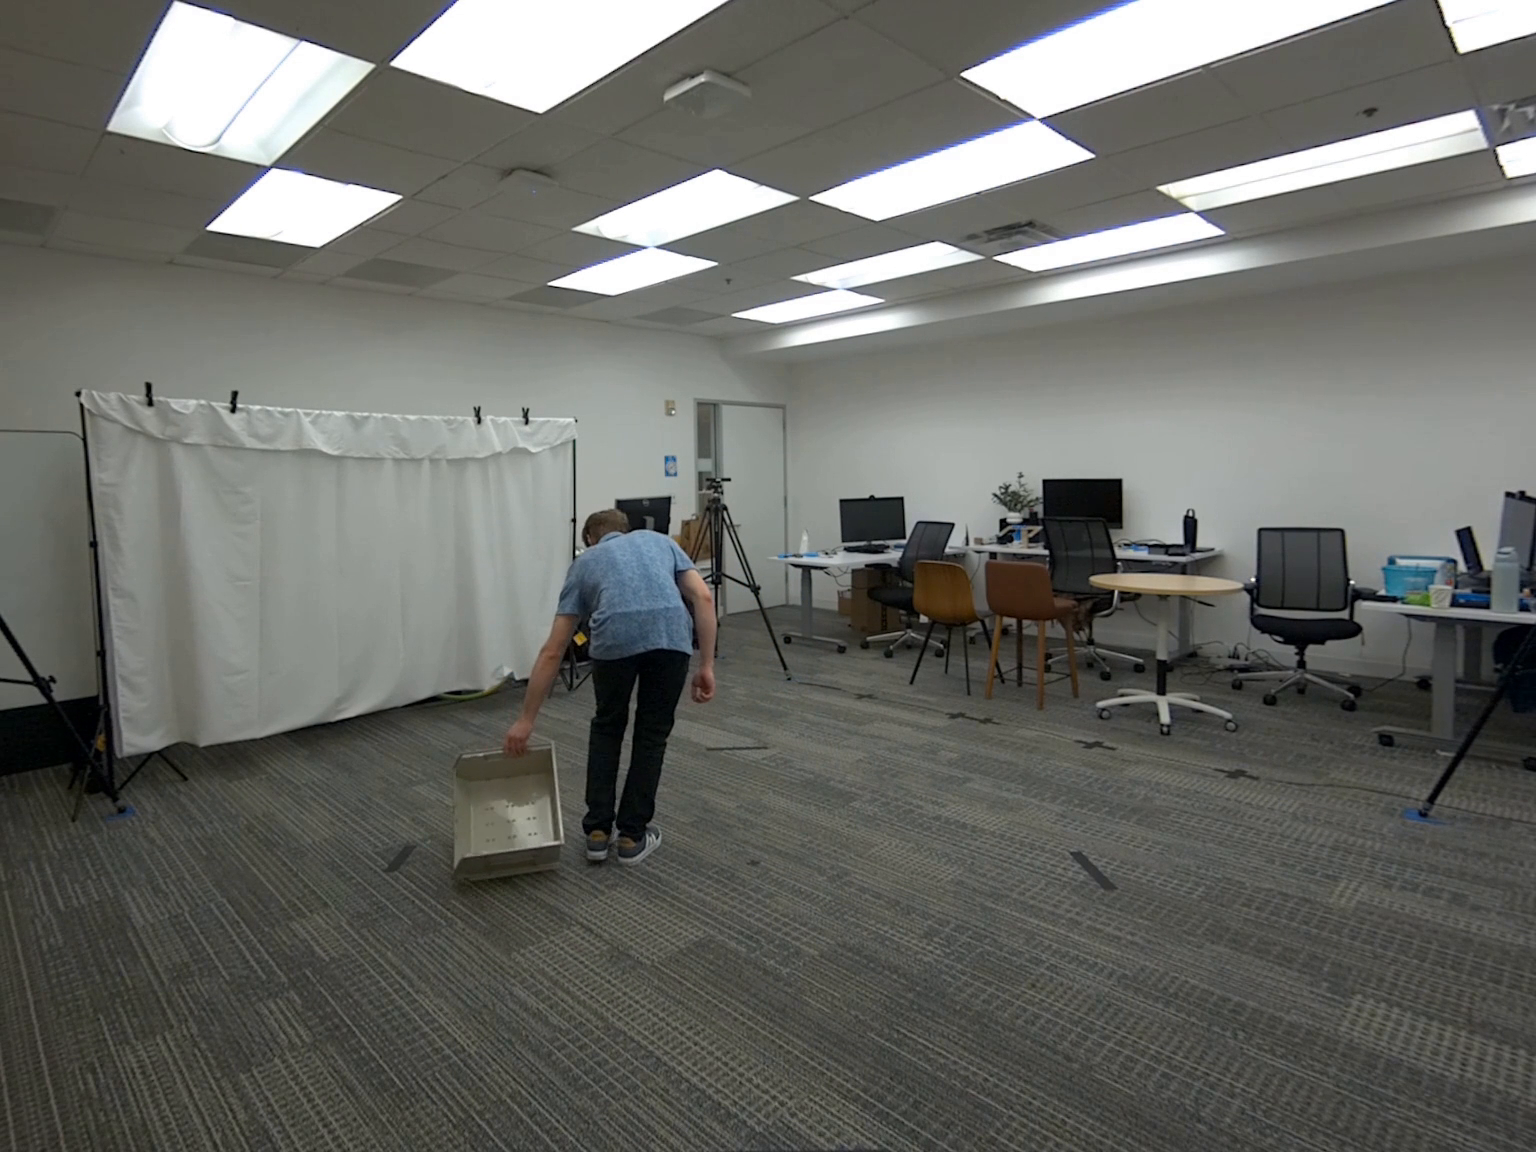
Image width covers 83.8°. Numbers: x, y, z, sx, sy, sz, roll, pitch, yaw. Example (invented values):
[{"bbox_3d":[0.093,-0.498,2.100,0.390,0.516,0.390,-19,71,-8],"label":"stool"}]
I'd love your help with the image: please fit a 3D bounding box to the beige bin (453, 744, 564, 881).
[{"bbox_3d":[-0.961,0.864,3.129,0.371,0.185,0.437,-3,43,-17],"label":"beige bin"}]
